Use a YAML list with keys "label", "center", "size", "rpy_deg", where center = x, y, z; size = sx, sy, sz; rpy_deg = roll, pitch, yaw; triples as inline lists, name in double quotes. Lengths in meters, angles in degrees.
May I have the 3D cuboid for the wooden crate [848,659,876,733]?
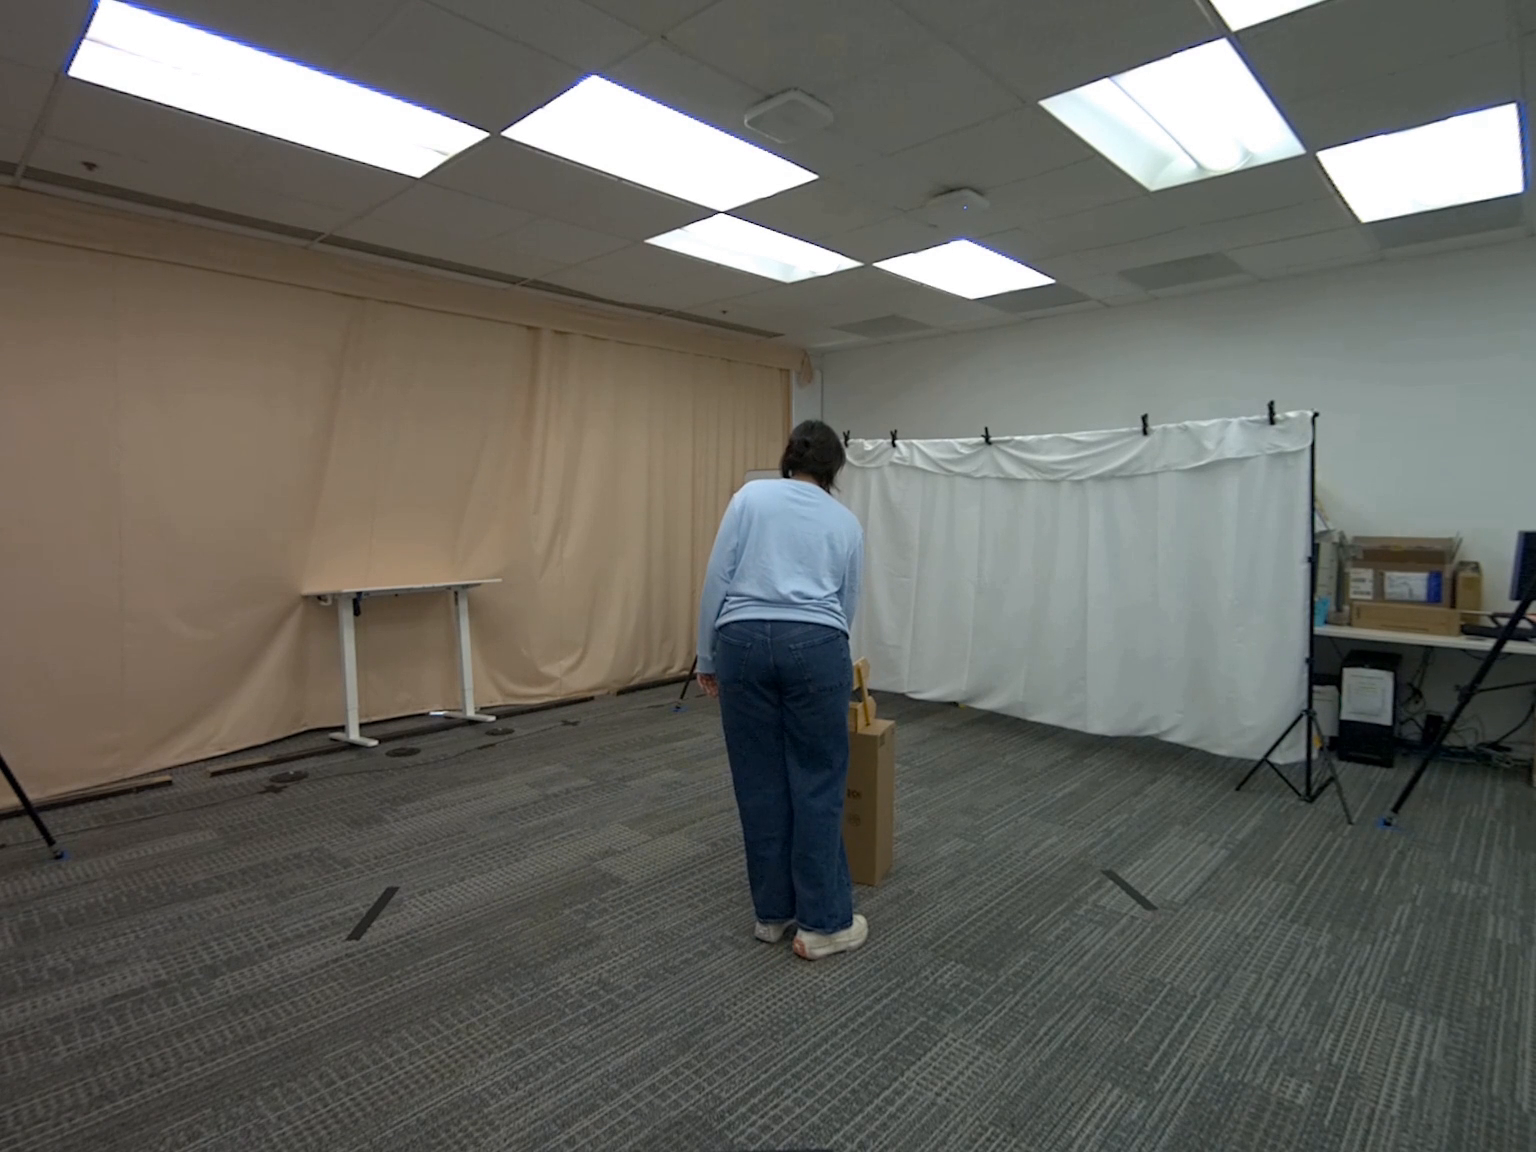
- label: "wooden crate"
  center: [0.232, 0.424, 3.215]
  size: [0.333, 0.272, 0.295]
  rpy_deg: [2, 6, 25]
